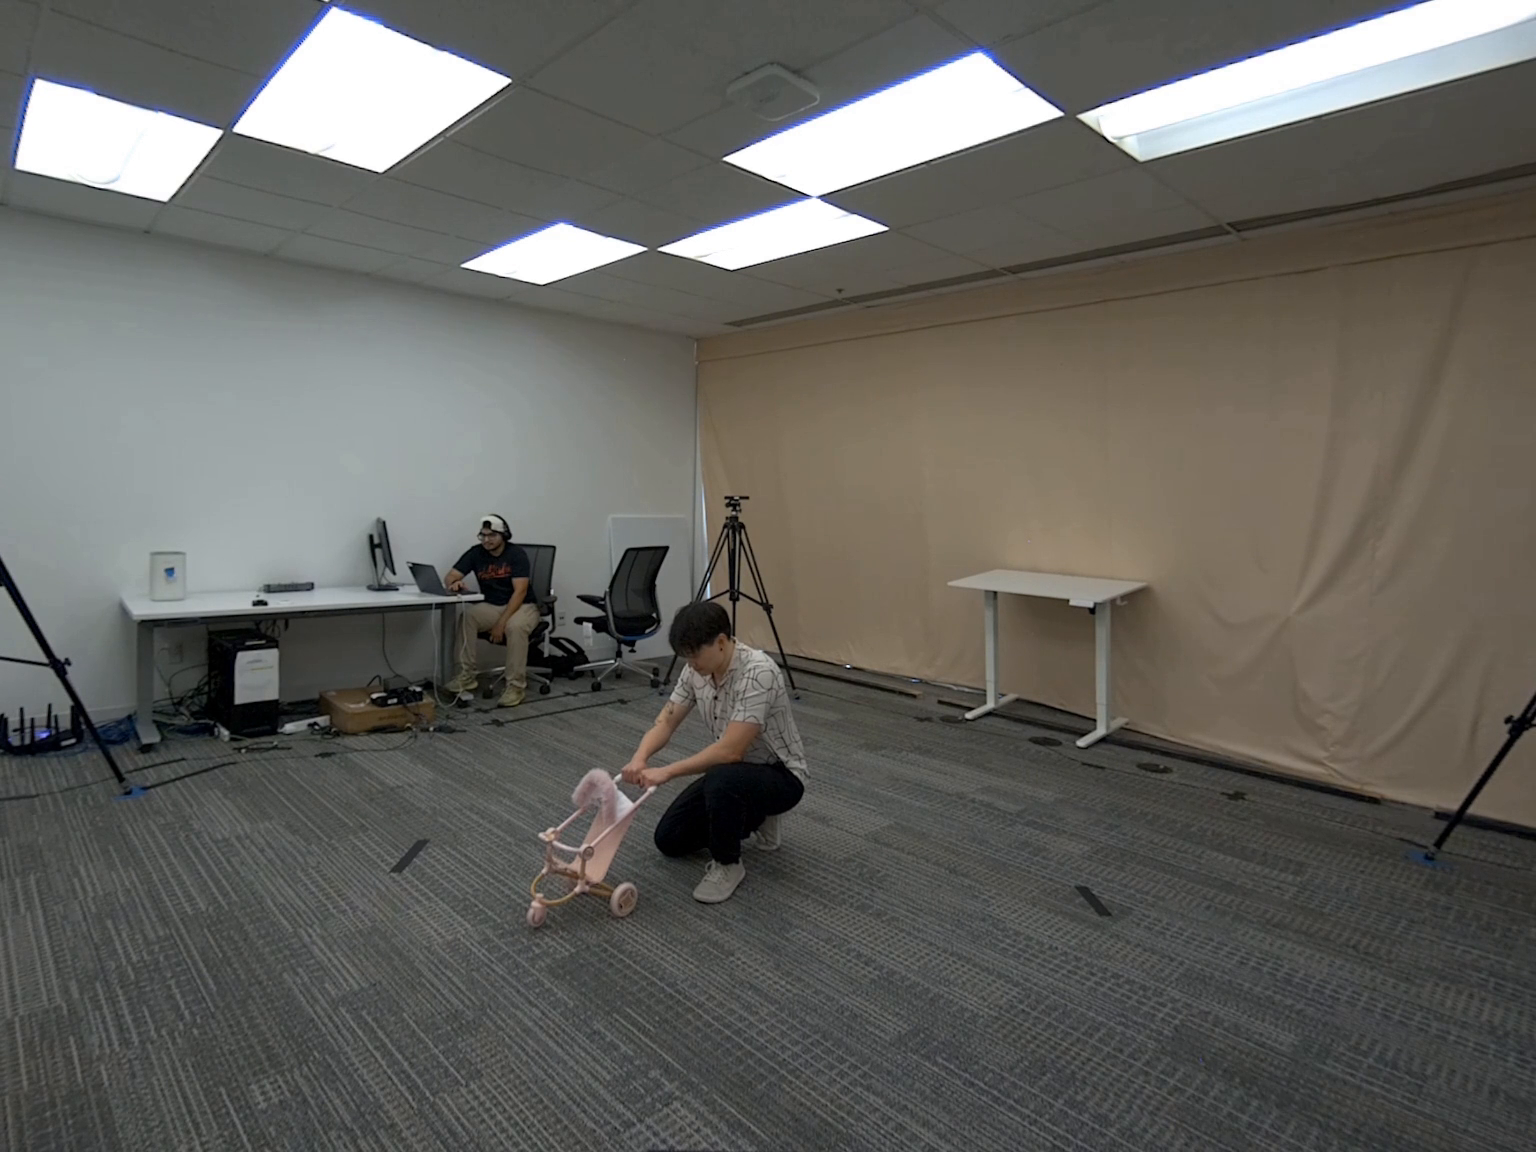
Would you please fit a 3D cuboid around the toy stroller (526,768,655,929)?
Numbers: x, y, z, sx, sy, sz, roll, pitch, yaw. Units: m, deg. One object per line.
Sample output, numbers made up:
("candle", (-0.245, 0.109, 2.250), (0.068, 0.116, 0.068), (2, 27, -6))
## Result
("toy stroller", (-0.605, 0.896, 2.823), (0.288, 0.538, 0.331), (2, -17, 47))
